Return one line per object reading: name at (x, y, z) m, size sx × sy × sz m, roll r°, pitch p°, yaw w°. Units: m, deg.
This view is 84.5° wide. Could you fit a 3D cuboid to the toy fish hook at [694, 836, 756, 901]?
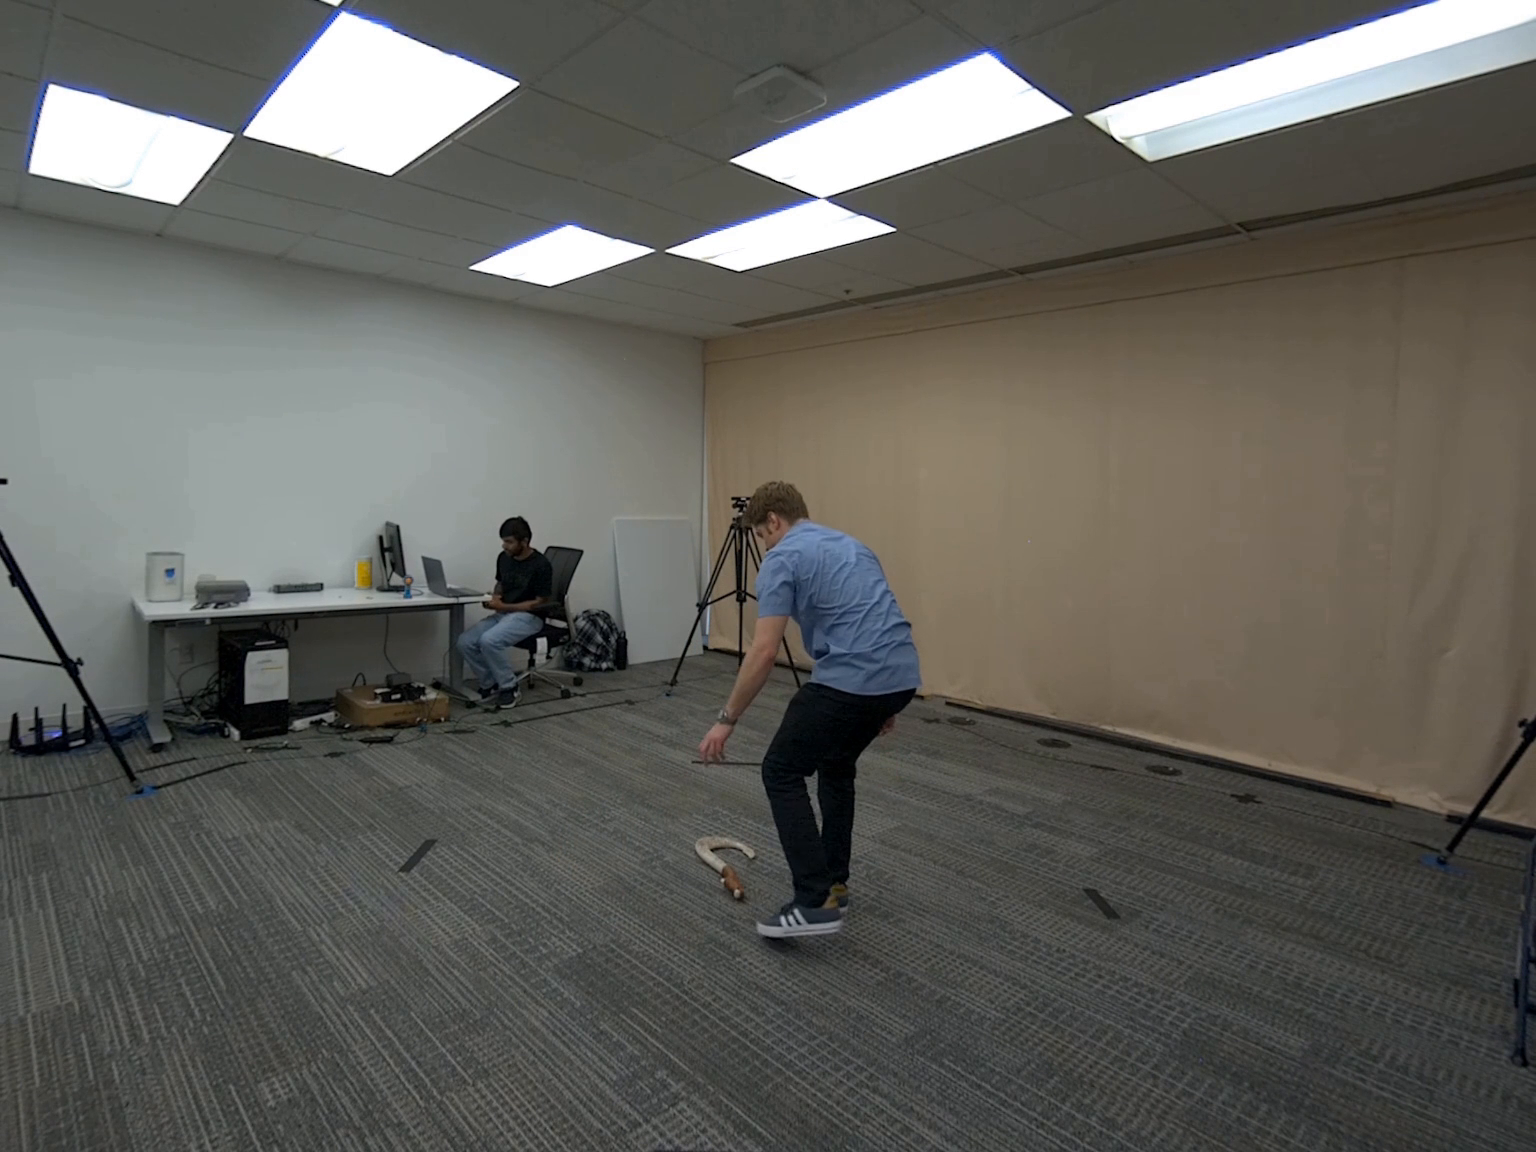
toy fish hook at (-0.133, 1.081, 3.149) m, size 0.221 × 0.048 × 0.515 m, roll 0°, pitch 6°, yaw -18°
